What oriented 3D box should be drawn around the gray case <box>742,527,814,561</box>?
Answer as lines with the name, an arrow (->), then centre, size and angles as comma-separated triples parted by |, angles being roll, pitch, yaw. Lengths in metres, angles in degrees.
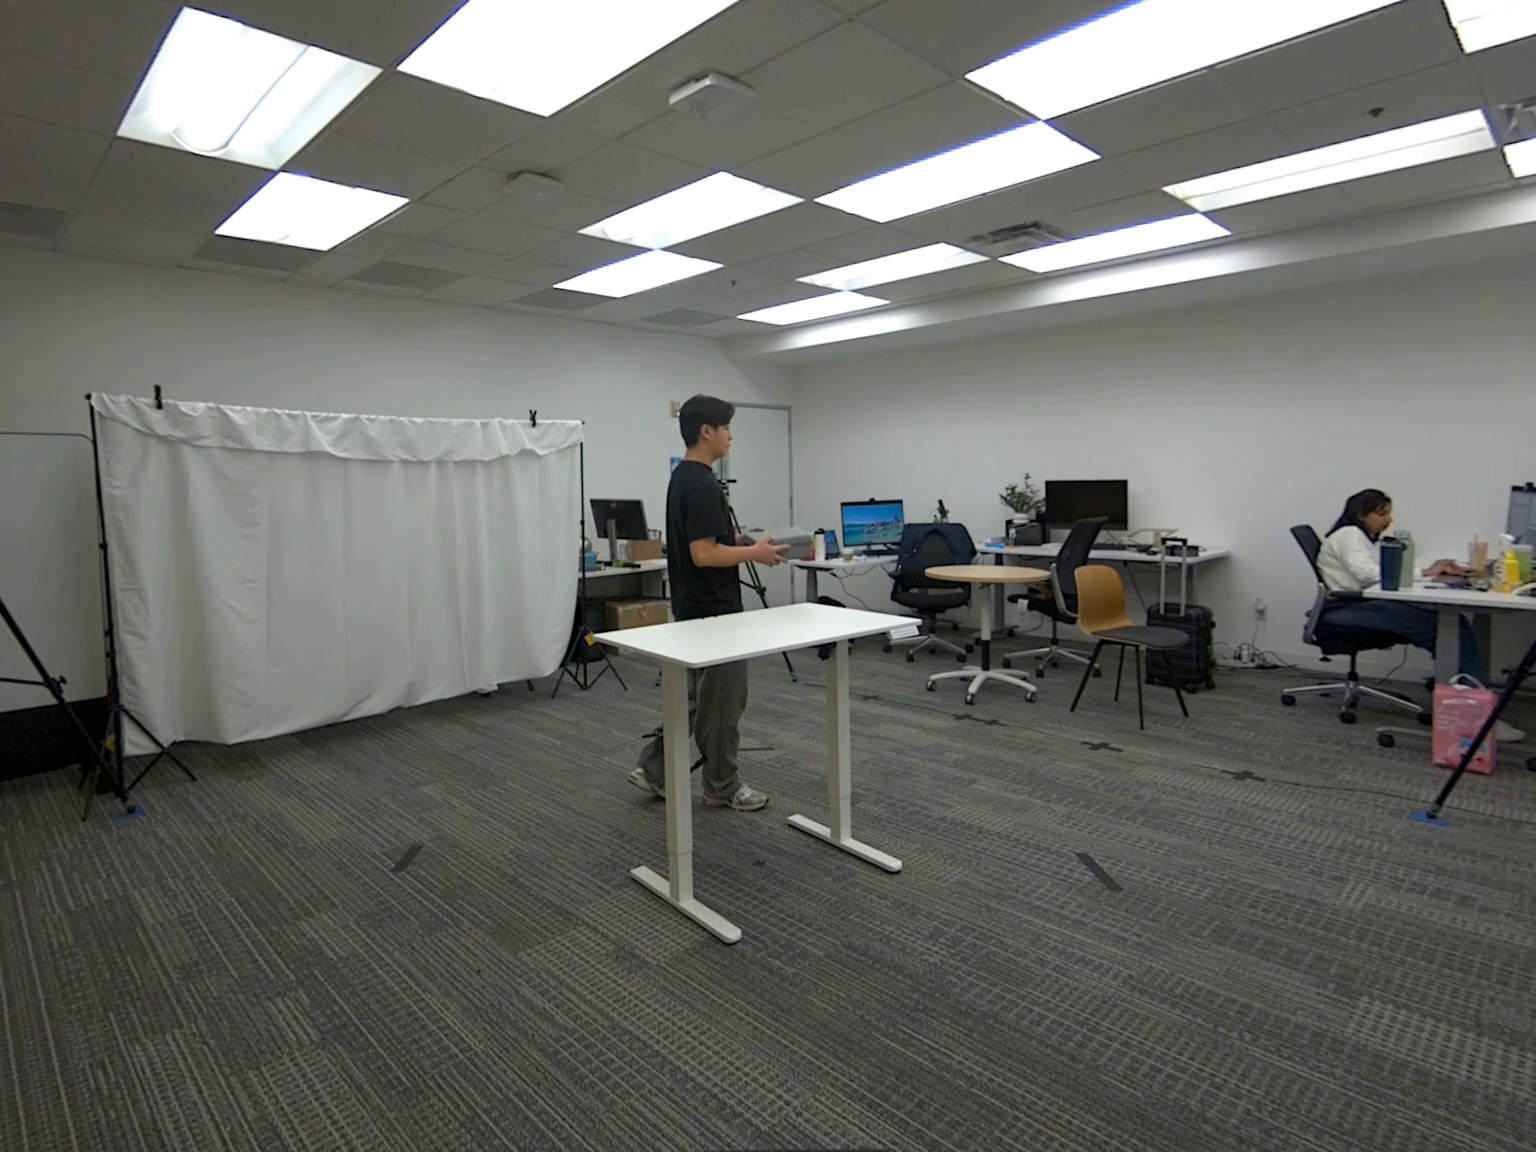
gray case -> 0.009, -0.128, 3.700 | 0.269, 0.102, 0.283 | 3, 12, 23
